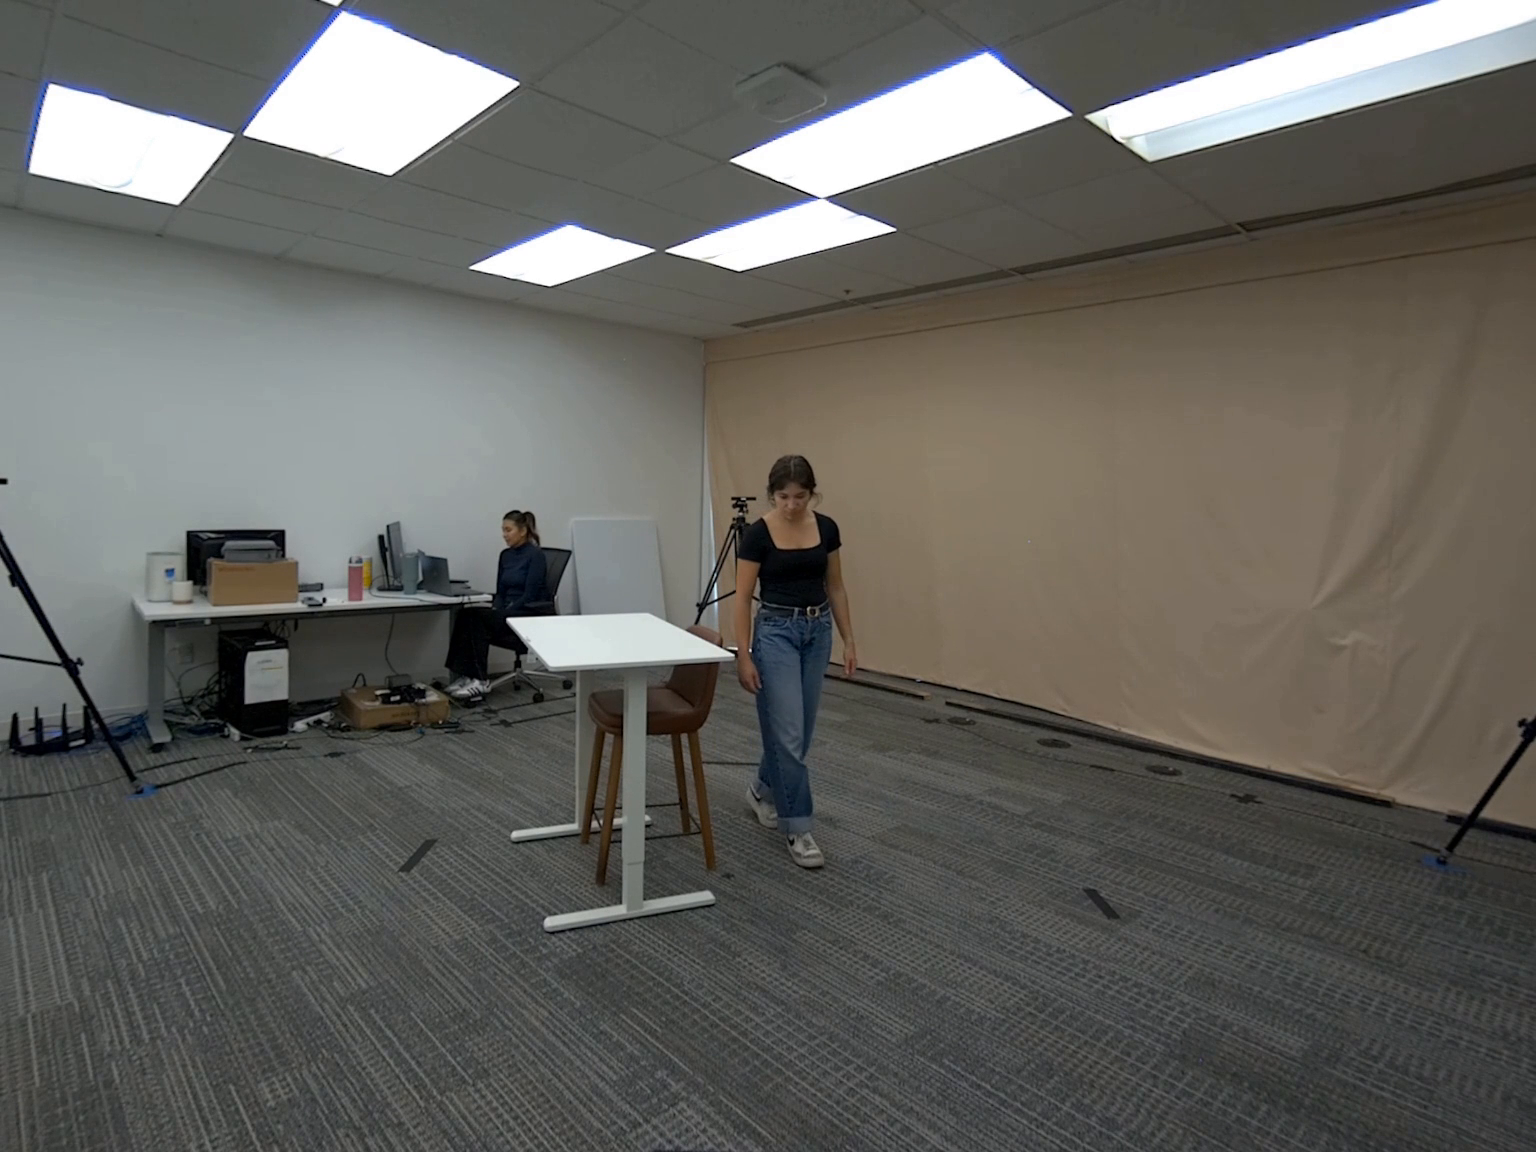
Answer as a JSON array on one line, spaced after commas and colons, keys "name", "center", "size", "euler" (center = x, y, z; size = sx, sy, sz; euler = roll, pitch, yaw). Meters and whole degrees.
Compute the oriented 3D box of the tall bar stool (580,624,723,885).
[{"name": "tall bar stool", "center": [-0.452, 0.654, 3.233], "size": [0.460, 0.888, 0.464], "euler": [3, 3, -20]}]
